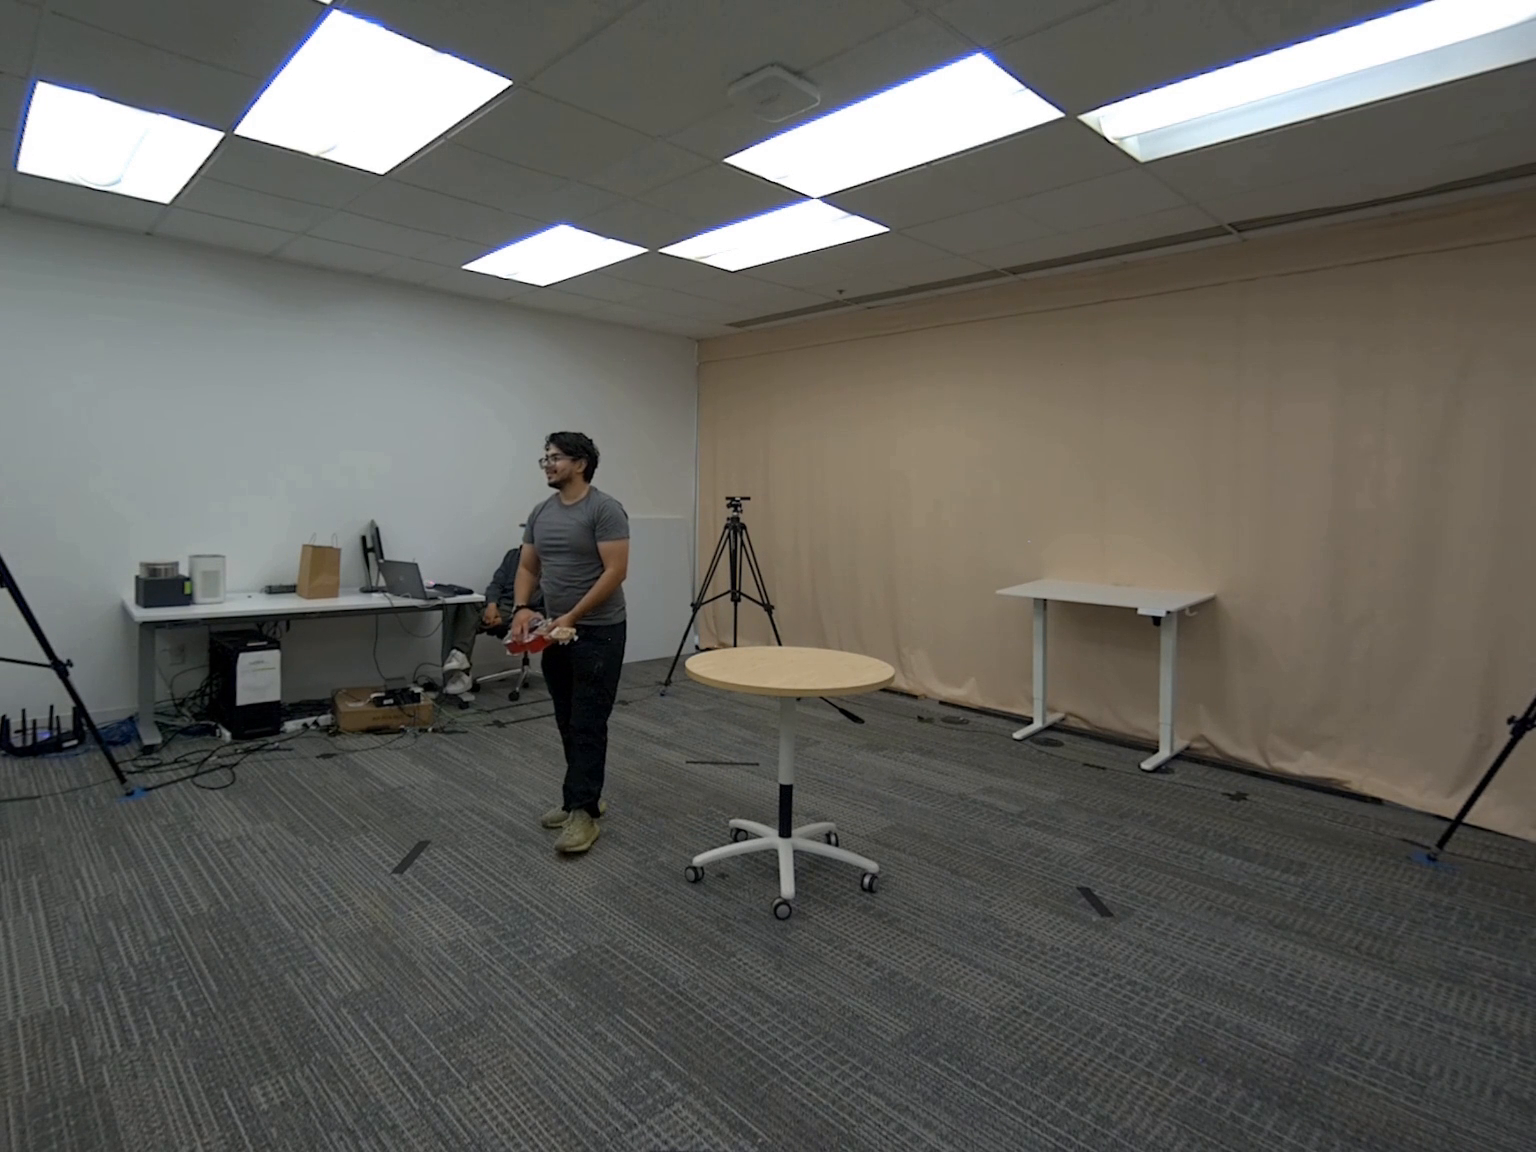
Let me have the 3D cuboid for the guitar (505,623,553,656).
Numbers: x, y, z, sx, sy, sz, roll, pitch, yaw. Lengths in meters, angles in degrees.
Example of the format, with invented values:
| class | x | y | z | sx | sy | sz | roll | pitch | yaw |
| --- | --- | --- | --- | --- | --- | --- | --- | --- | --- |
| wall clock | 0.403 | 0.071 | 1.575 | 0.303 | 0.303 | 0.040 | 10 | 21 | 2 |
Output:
| class | x | y | z | sx | sy | sz | roll | pitch | yaw |
| --- | --- | --- | --- | --- | --- | --- | --- | --- | --- |
| guitar | -0.907 | 0.256 | 3.286 | 0.193 | 0.069 | 0.510 | -44 | 26 | -20 |
